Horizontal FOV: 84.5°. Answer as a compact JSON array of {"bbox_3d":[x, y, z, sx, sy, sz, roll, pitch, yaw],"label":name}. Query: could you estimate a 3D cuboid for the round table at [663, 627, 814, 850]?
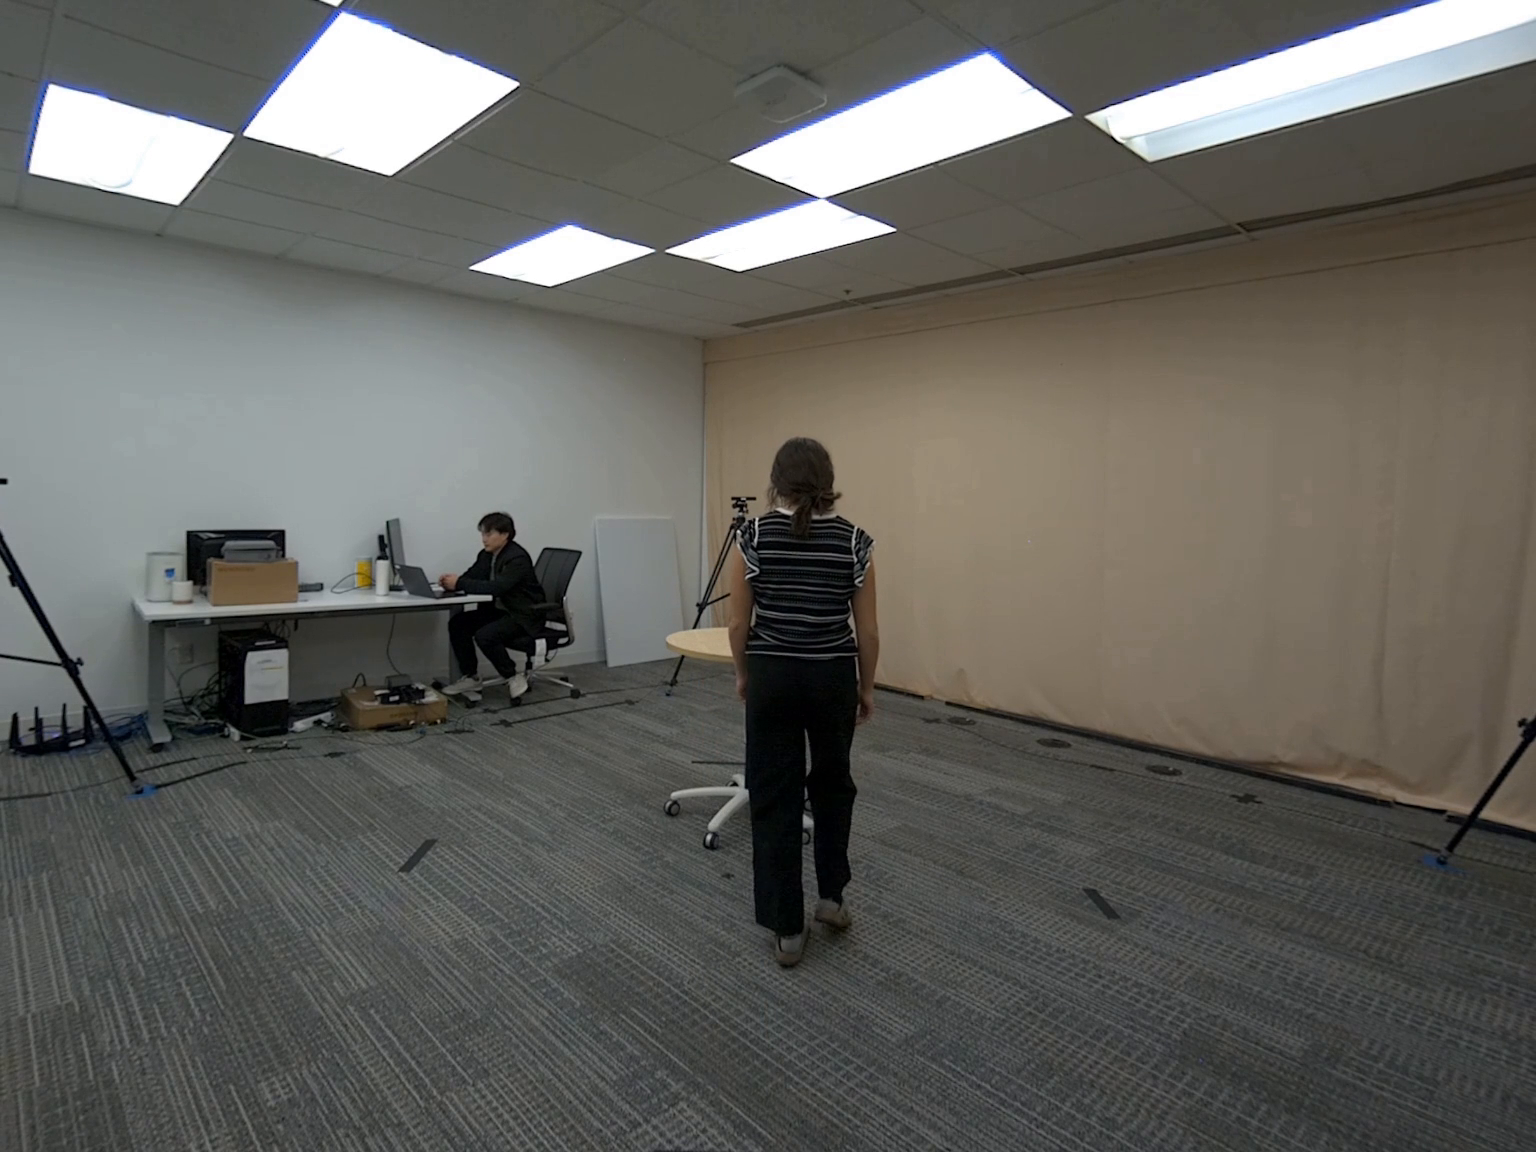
[{"bbox_3d":[-0.064,0.671,3.637,0.784,0.784,0.788,2,4,-1],"label":"round table"}]
